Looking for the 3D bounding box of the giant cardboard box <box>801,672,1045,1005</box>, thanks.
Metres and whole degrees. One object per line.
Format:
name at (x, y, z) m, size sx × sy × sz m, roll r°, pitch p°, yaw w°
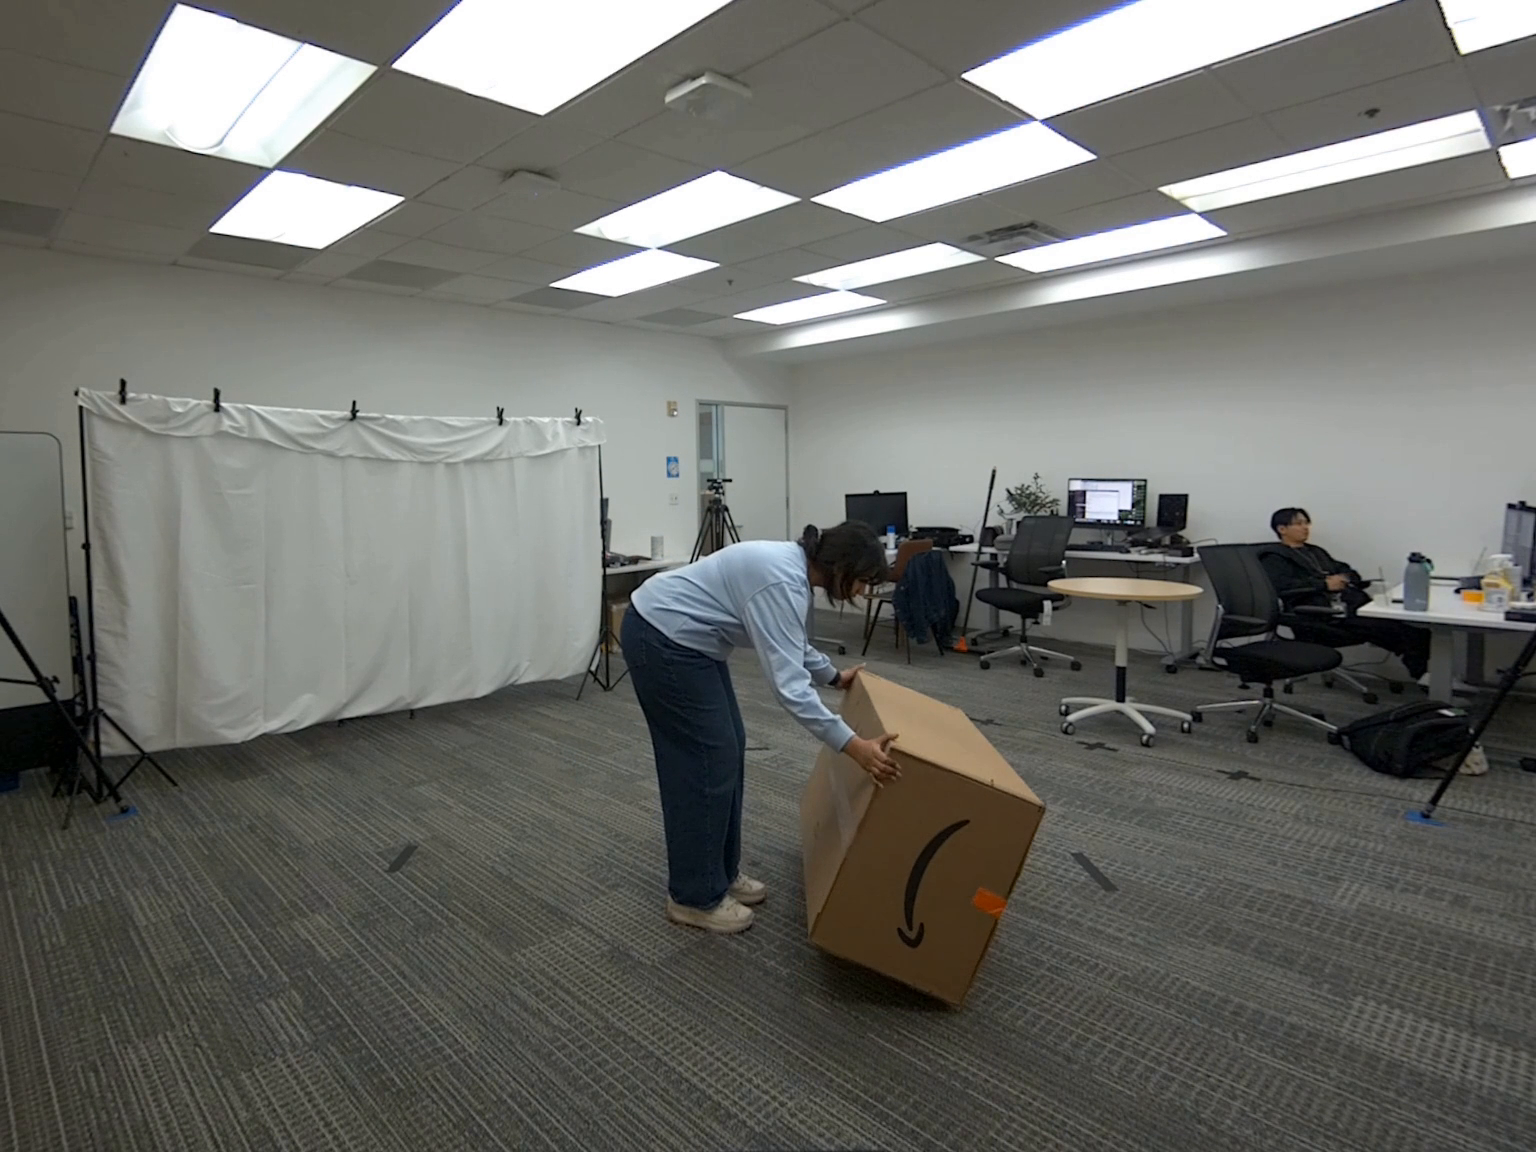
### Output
giant cardboard box at (0.420, 0.736, 2.702) m, size 0.427 × 0.576 × 1.027 m, roll 22°, pitch 5°, yaw -1°
